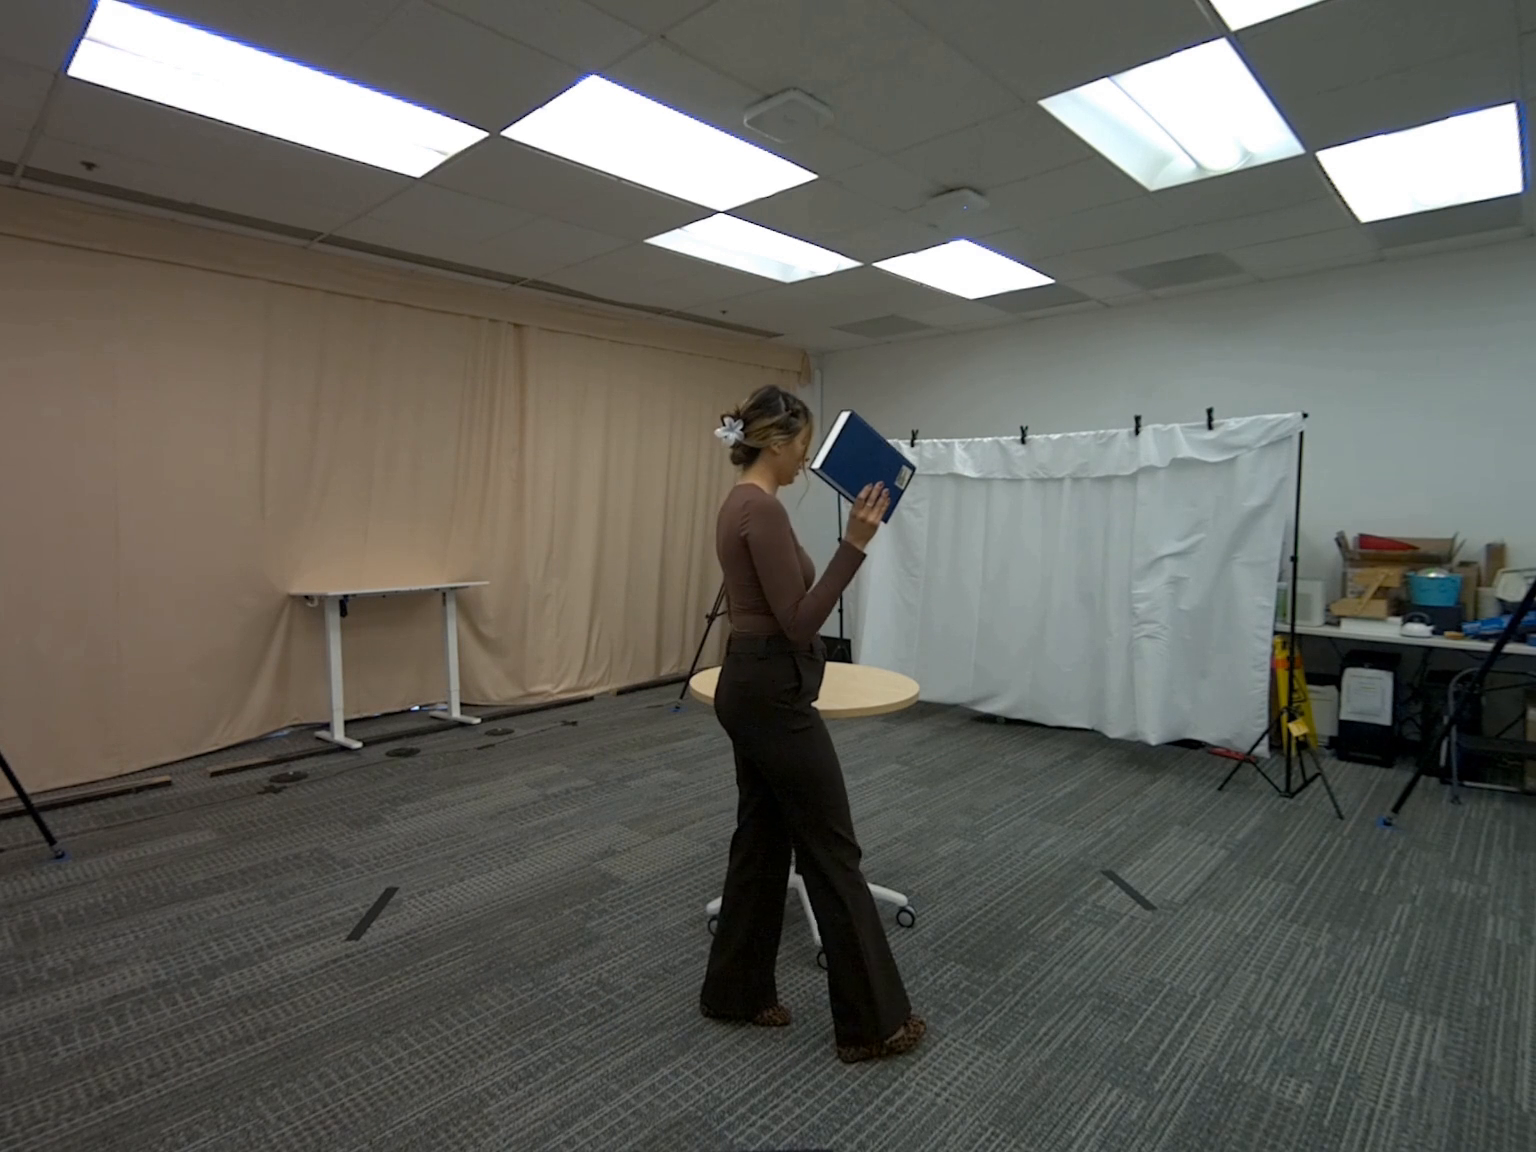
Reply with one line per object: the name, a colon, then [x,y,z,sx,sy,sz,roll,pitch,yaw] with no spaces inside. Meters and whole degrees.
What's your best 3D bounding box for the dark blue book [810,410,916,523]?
dark blue book: [0.229,-0.254,1.963,0.238,0.163,0.046,34,-7,-25]
